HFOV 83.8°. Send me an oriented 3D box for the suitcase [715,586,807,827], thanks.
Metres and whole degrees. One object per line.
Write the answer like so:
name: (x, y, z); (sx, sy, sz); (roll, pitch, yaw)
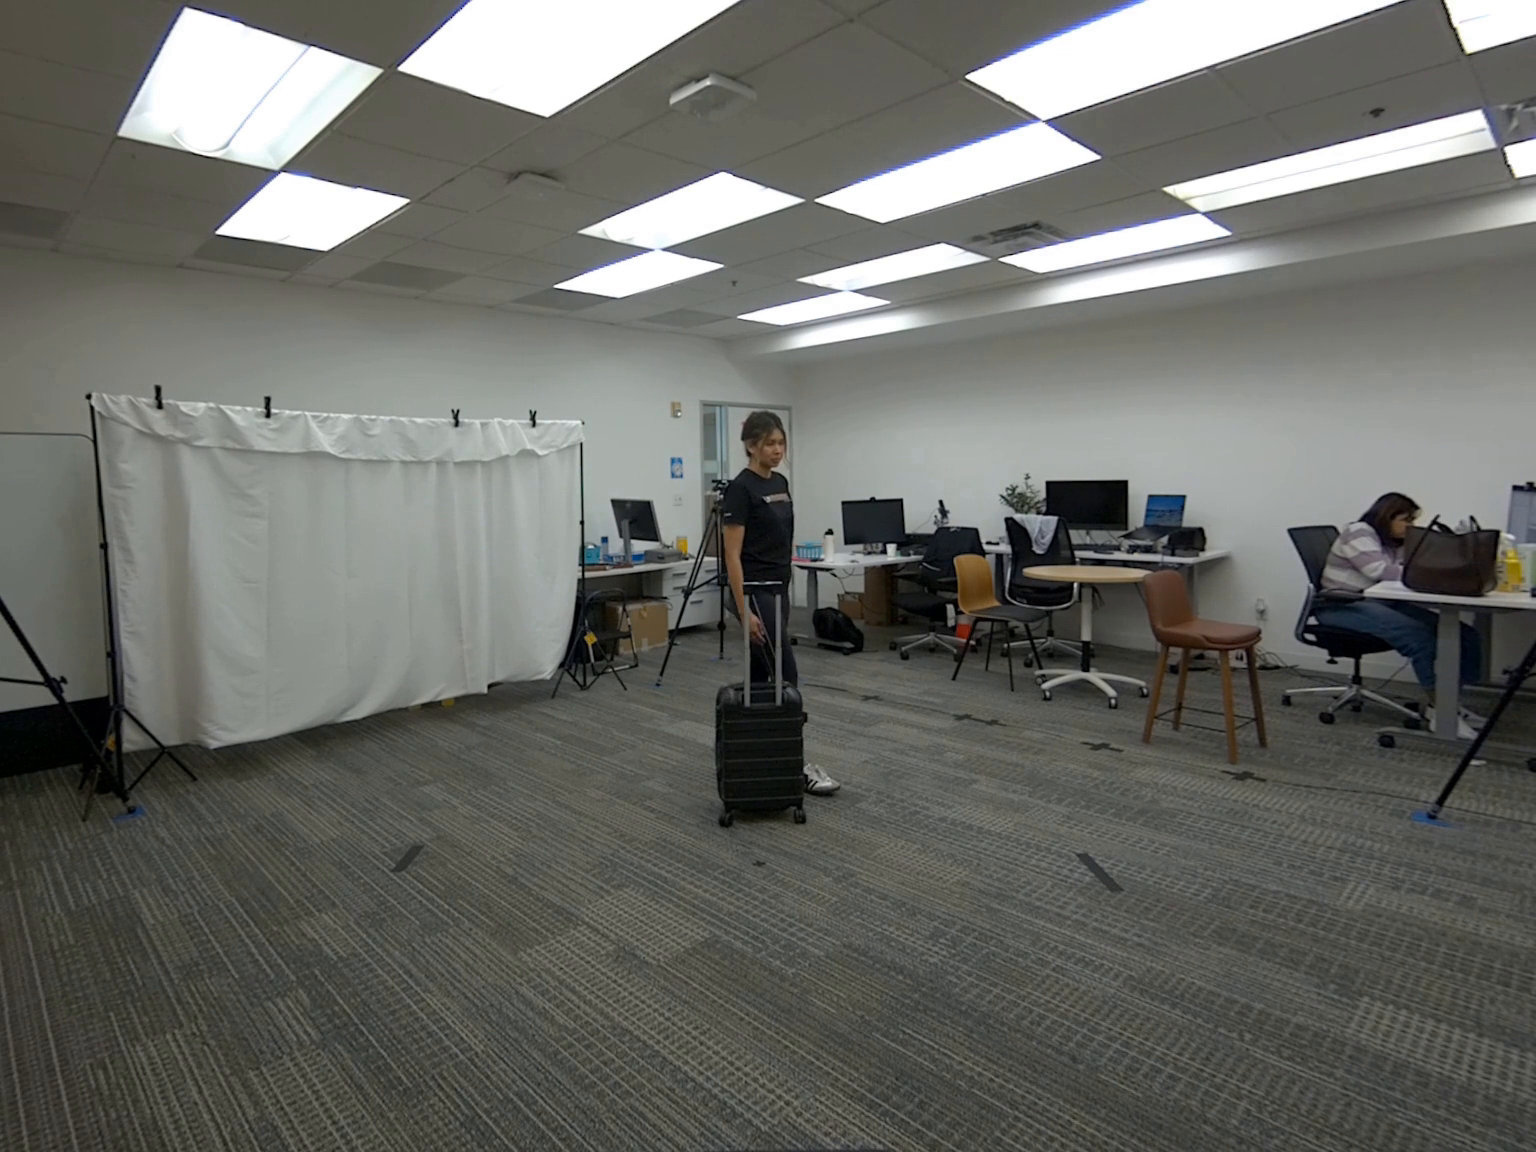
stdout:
suitcase: (-0.037, 0.518, 3.572); (0.382, 0.977, 0.259); (-1, 2, -6)
